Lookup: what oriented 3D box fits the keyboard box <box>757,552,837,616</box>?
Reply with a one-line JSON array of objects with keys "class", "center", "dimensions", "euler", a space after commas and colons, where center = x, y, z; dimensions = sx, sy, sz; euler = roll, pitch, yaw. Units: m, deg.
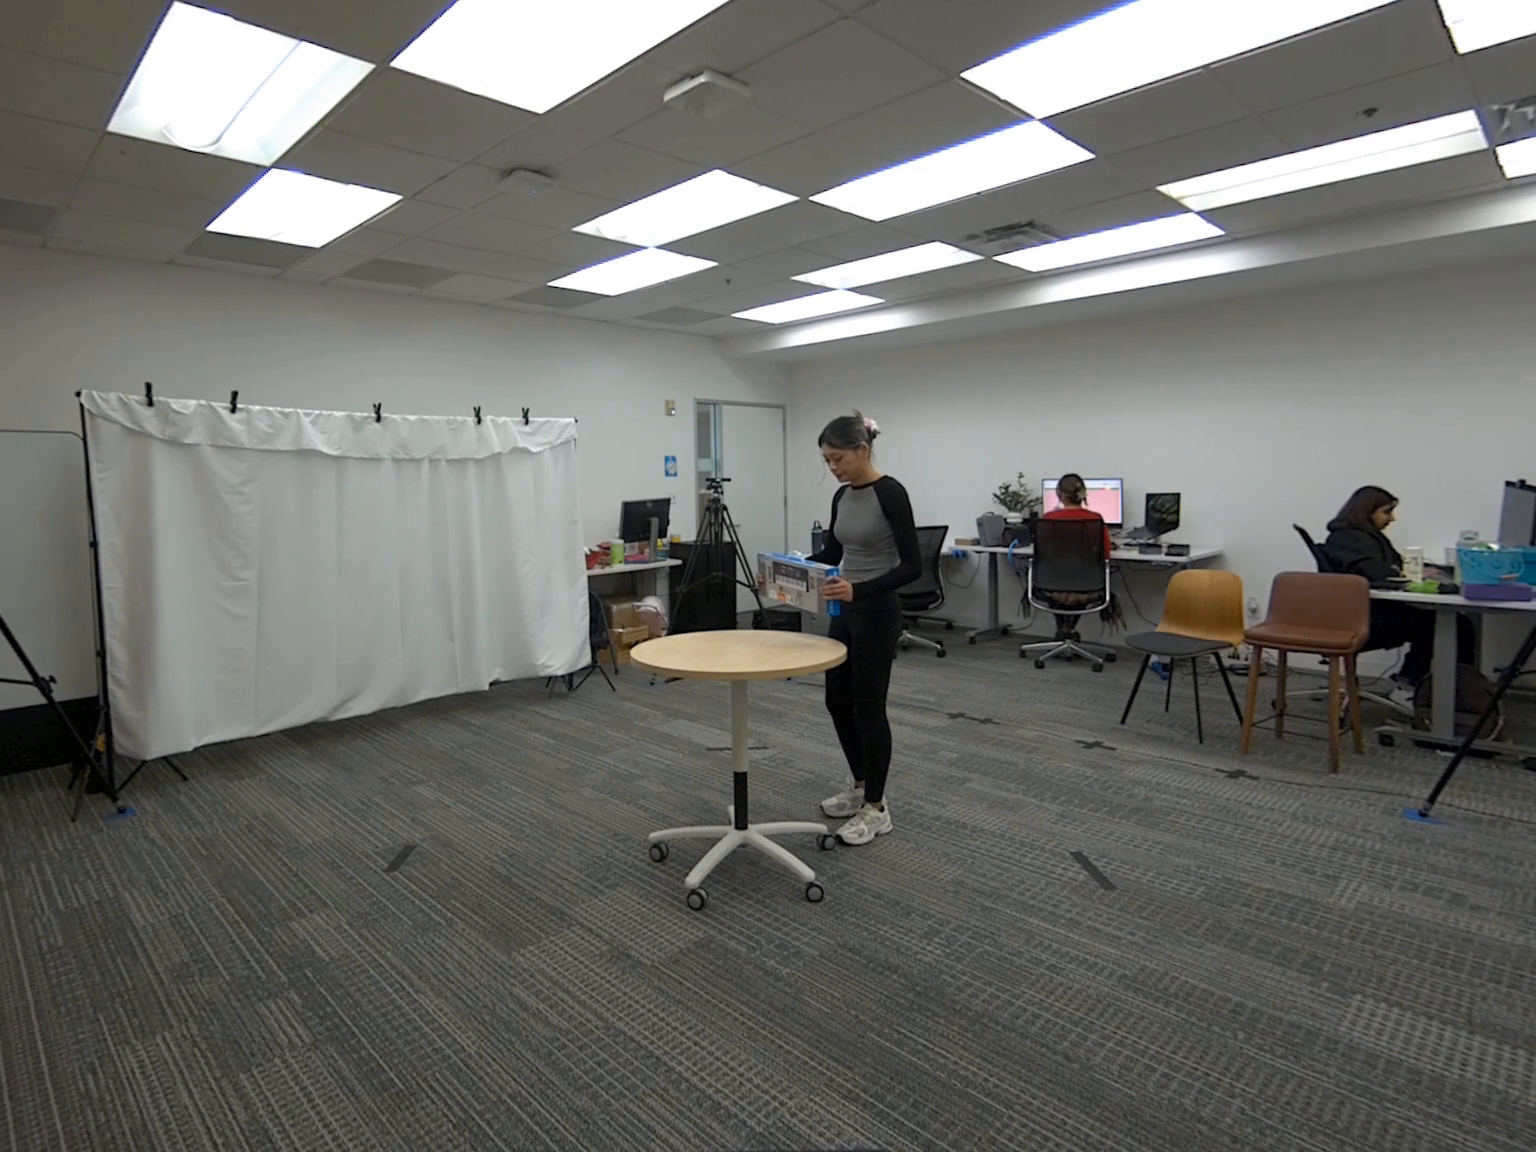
[{"class": "keyboard box", "center": [0.110, 0.027, 3.191], "dimensions": [0.058, 0.174, 0.450], "euler": [-7, 12, -31]}]
